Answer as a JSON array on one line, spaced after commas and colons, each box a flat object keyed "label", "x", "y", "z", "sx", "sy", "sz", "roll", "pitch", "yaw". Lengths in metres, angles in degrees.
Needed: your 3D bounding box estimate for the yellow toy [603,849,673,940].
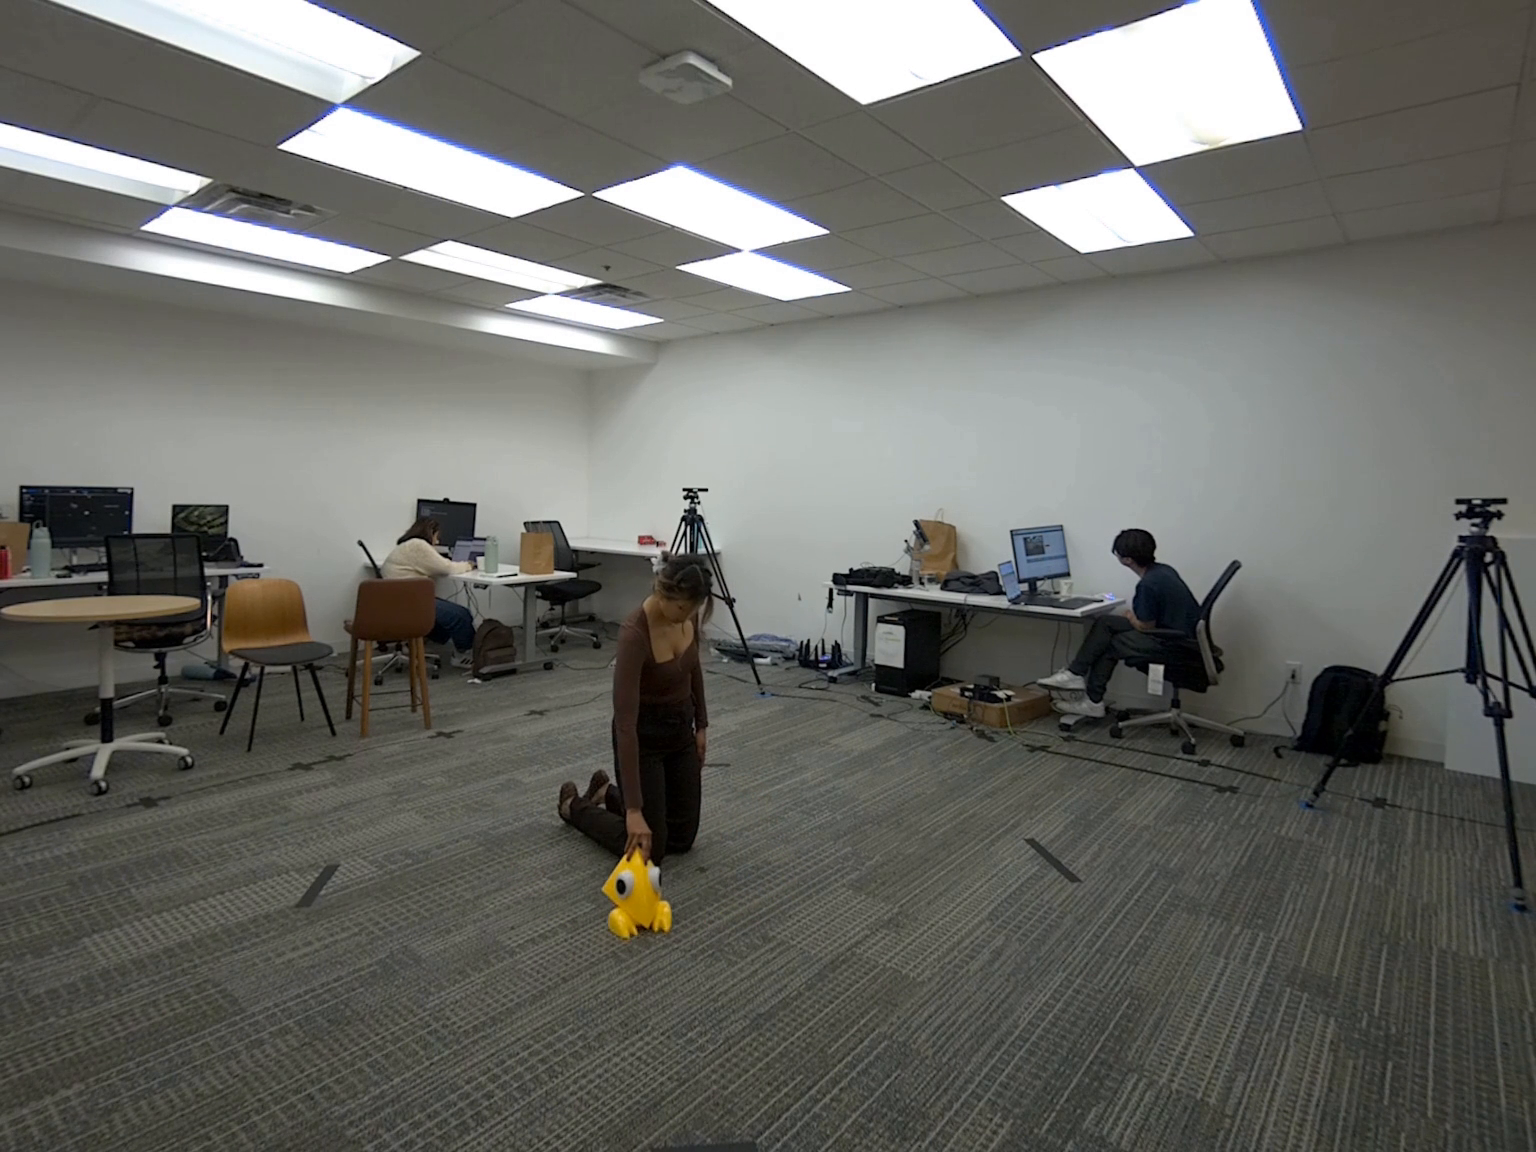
[{"label": "yellow toy", "x": -0.417, "y": 0.988, "z": 2.723, "sx": 0.200, "sy": 0.230, "sz": 0.198, "roll": -1, "pitch": 4, "yaw": -23}]
